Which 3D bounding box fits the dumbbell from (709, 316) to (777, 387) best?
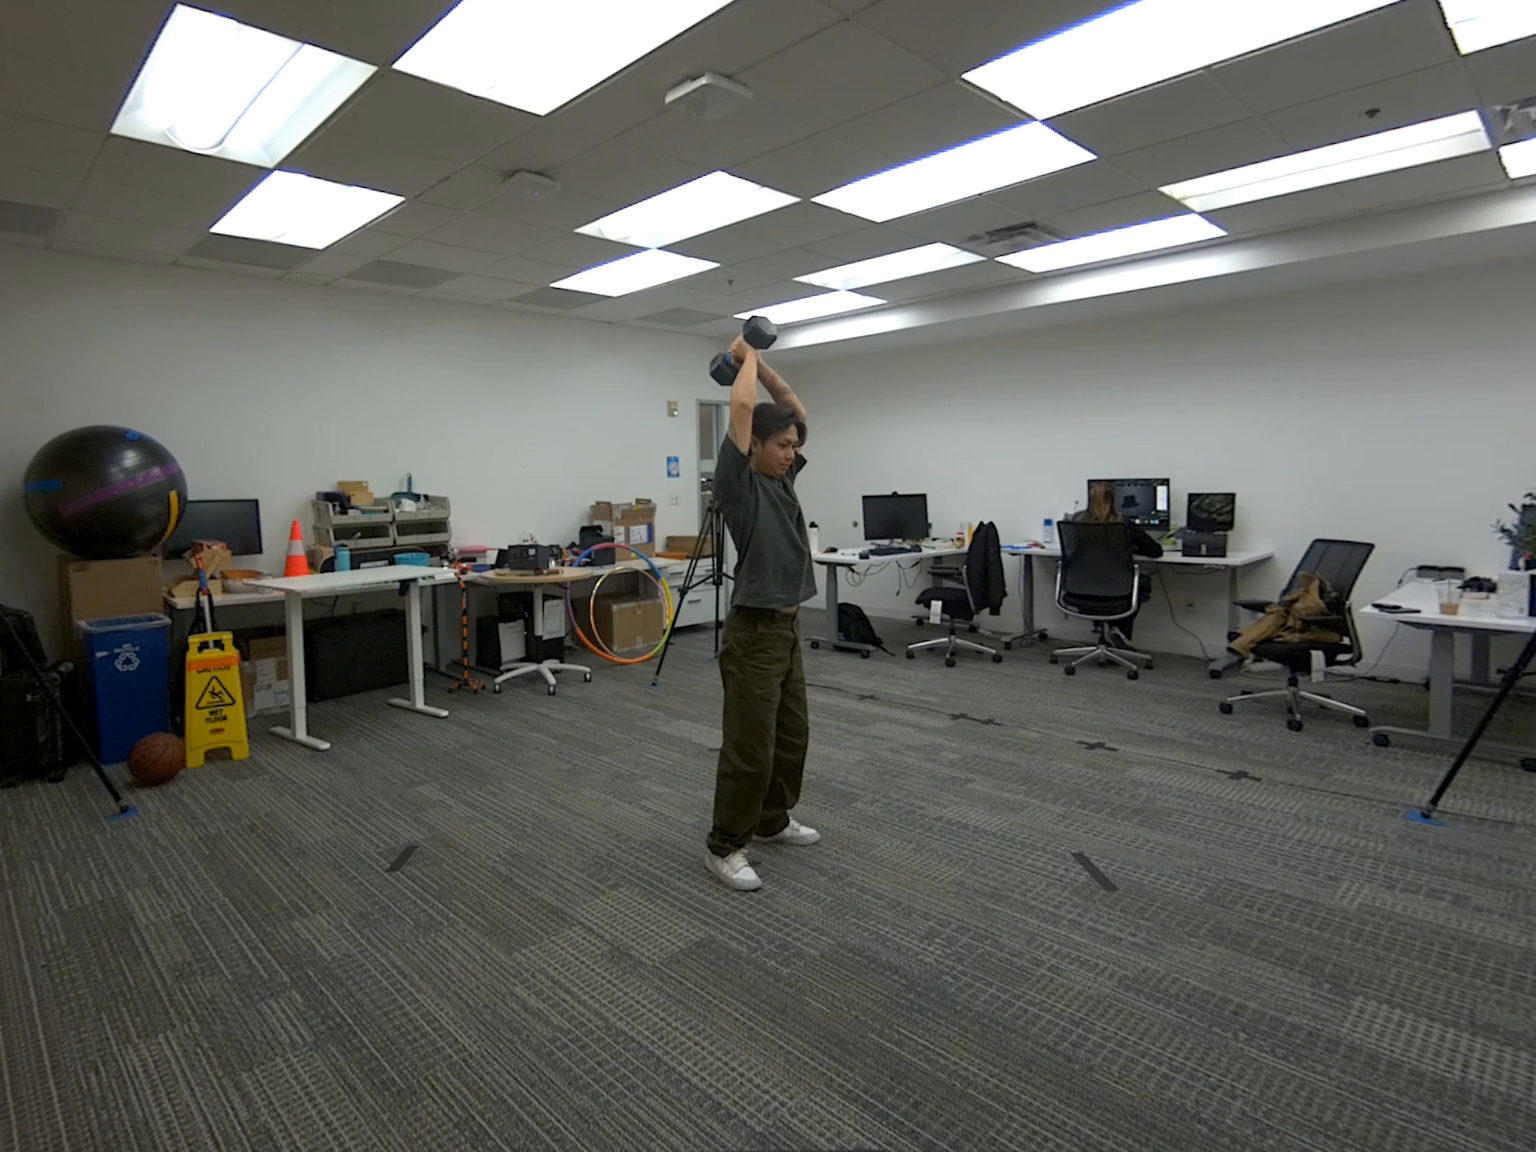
[{"bbox_3d":[-0.085,-0.815,3.089,0.105,0.126,0.295,25,-43,-28],"label":"dumbbell"}]
